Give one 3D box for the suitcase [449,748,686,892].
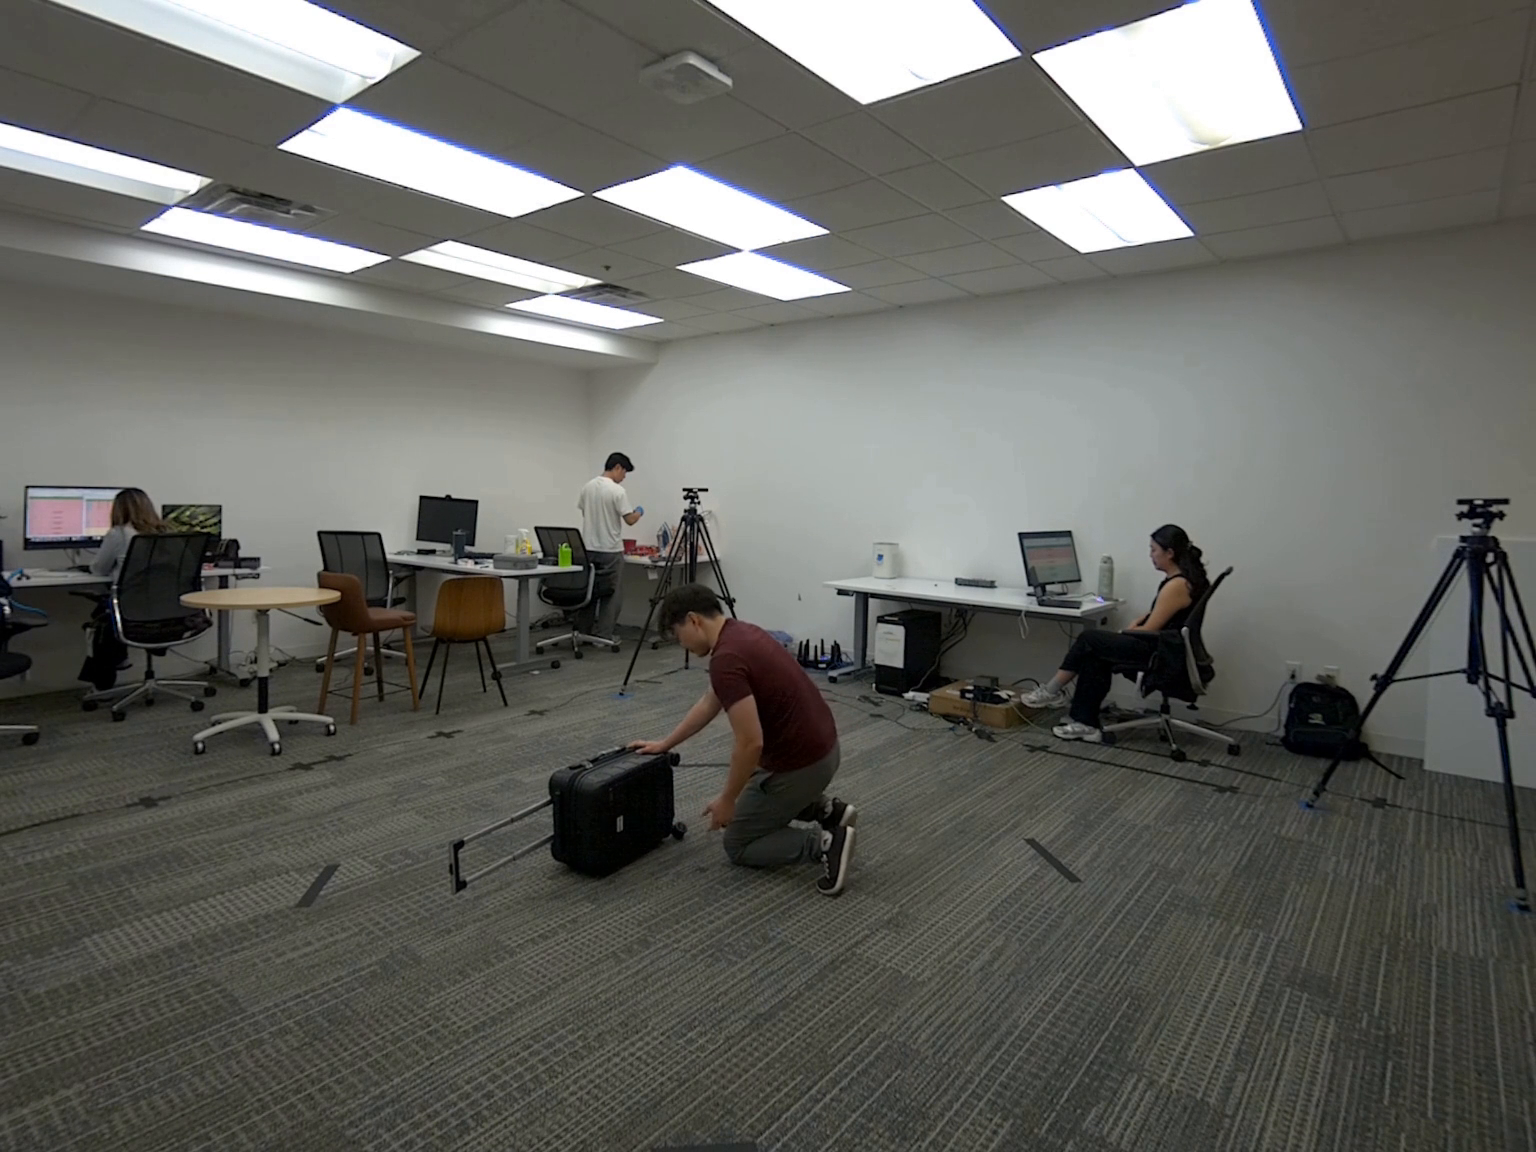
[{"bbox_3d":[-0.689,0.879,3.059,0.264,0.383,0.954,0,3,29],"label":"suitcase"}]
